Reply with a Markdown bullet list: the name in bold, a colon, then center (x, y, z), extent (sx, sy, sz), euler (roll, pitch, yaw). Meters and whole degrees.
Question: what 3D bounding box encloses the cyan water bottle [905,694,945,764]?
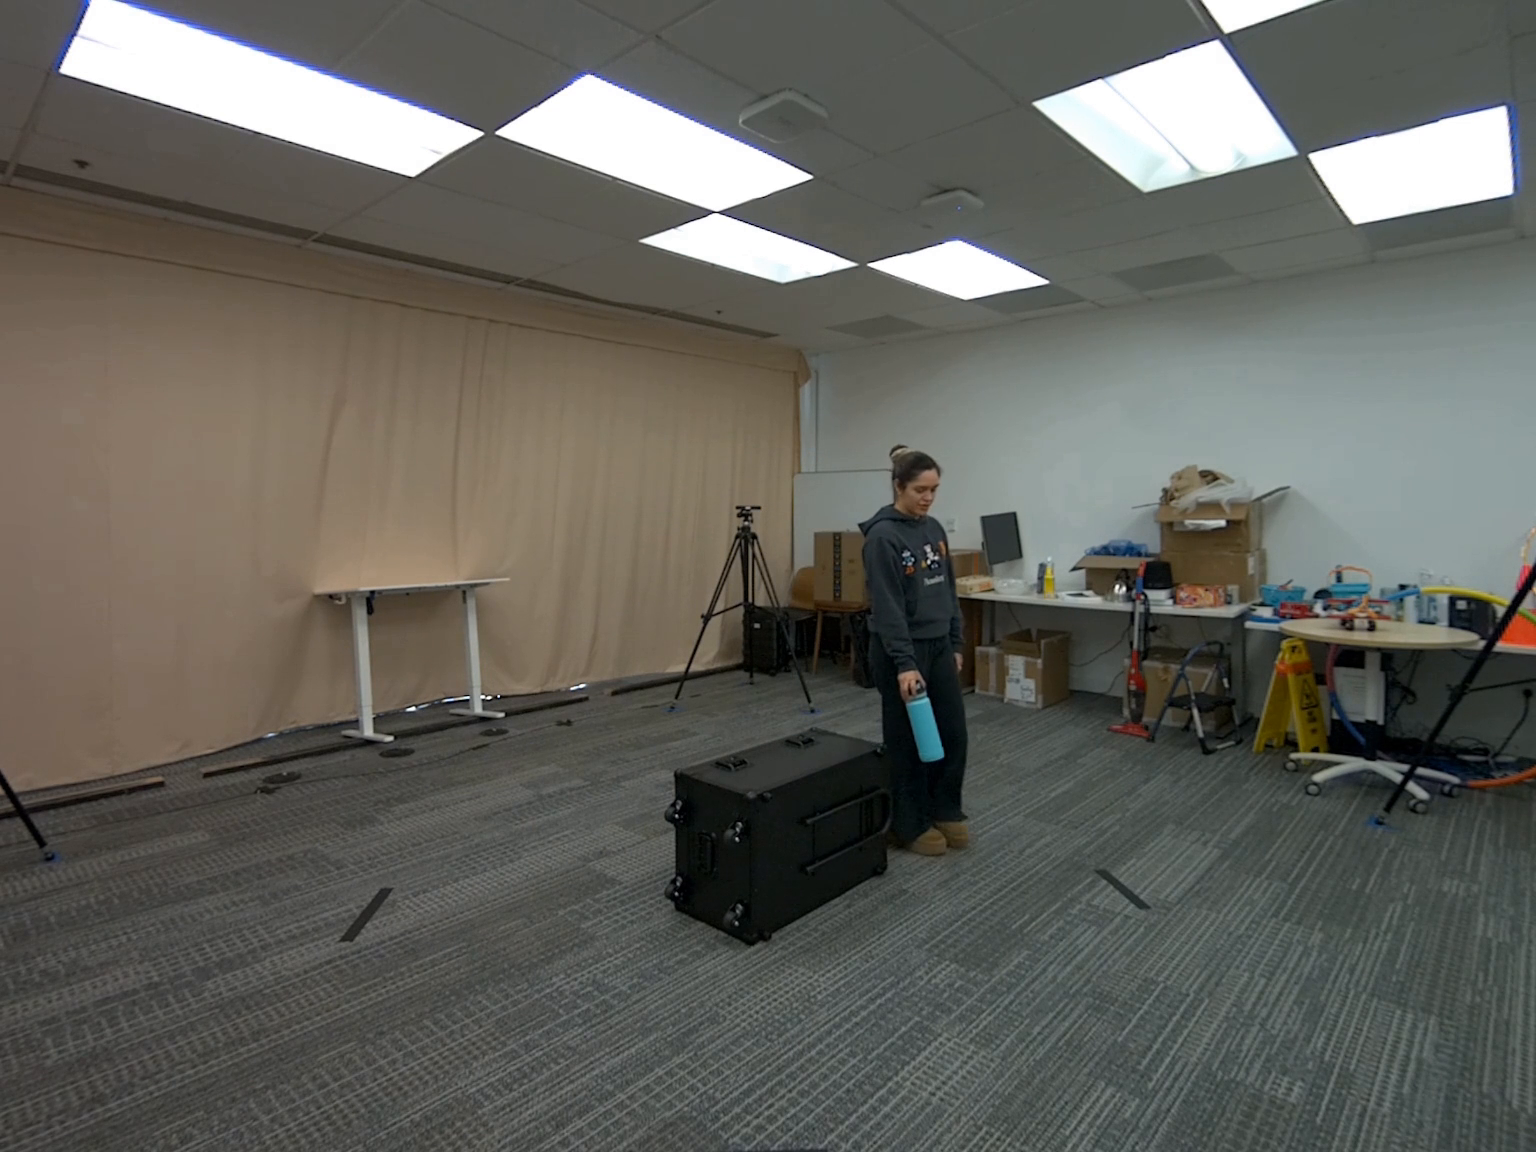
- **cyan water bottle**: center (0.585, 0.535, 3.137), extent (0.092, 0.284, 0.092), euler (-12, -2, -2)
